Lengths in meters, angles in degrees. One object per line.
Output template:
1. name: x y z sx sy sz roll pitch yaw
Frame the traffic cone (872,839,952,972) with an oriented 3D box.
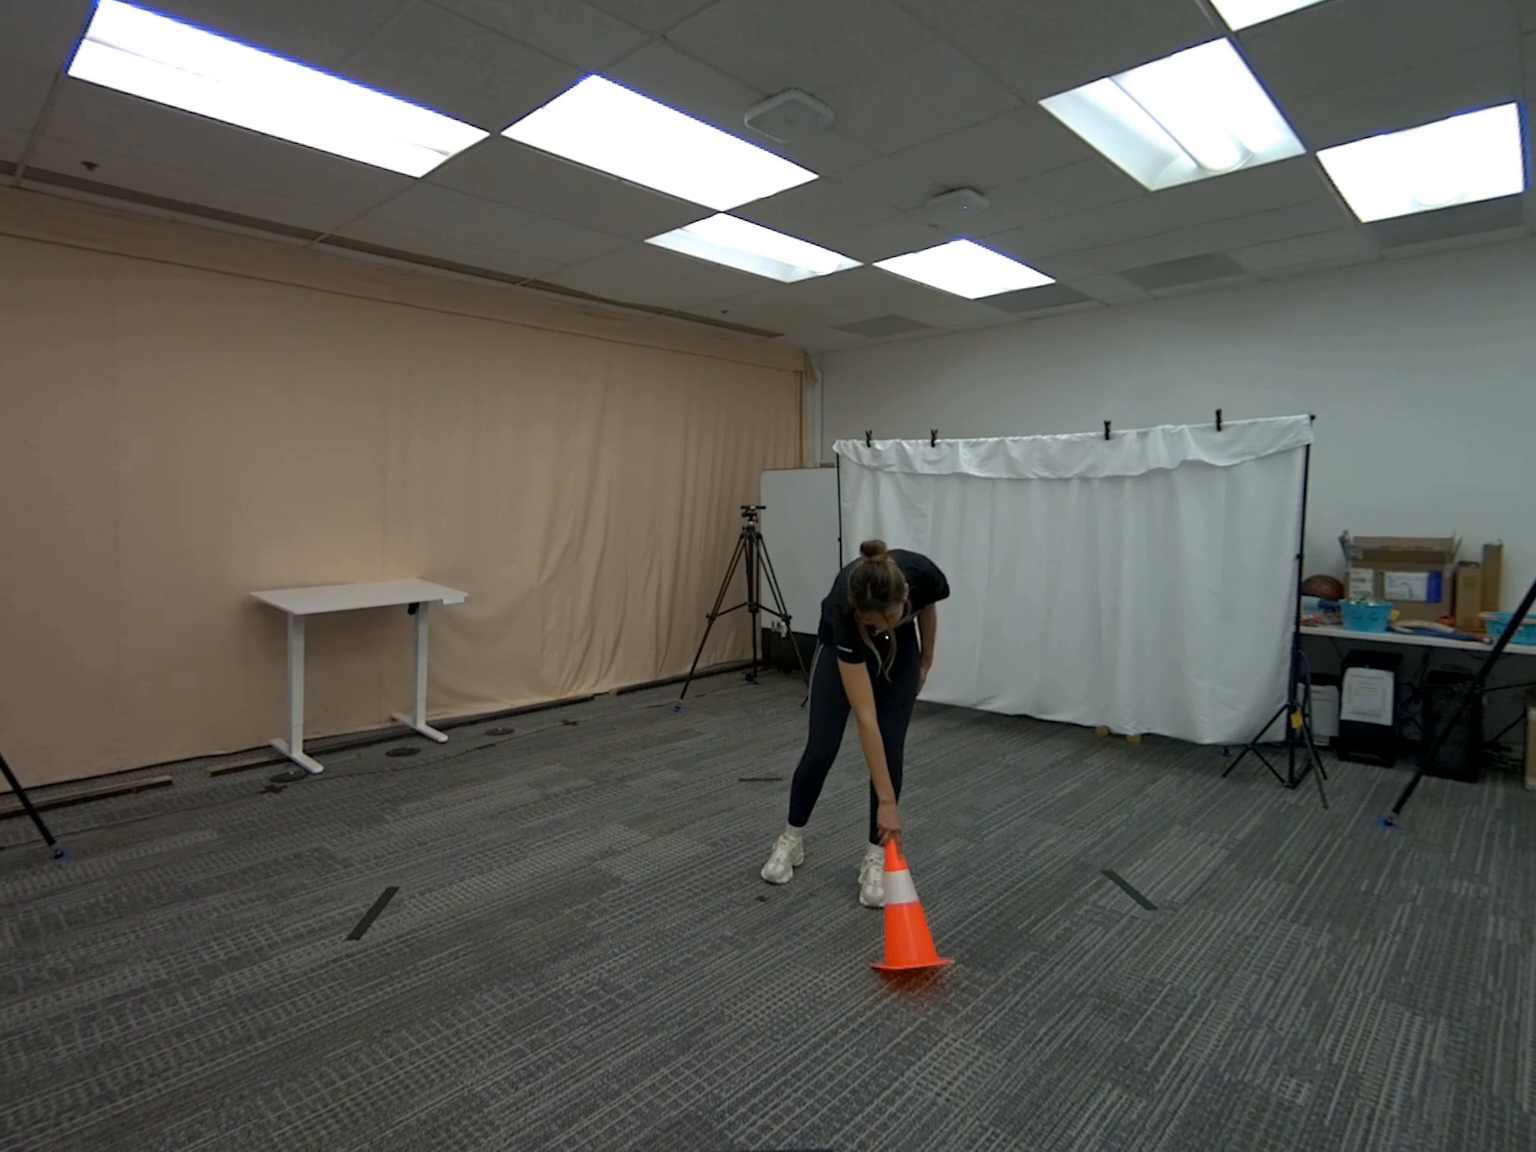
1. traffic cone: 0.402 0.977 2.539 0.200 0.388 0.205 -1 -17 -14
